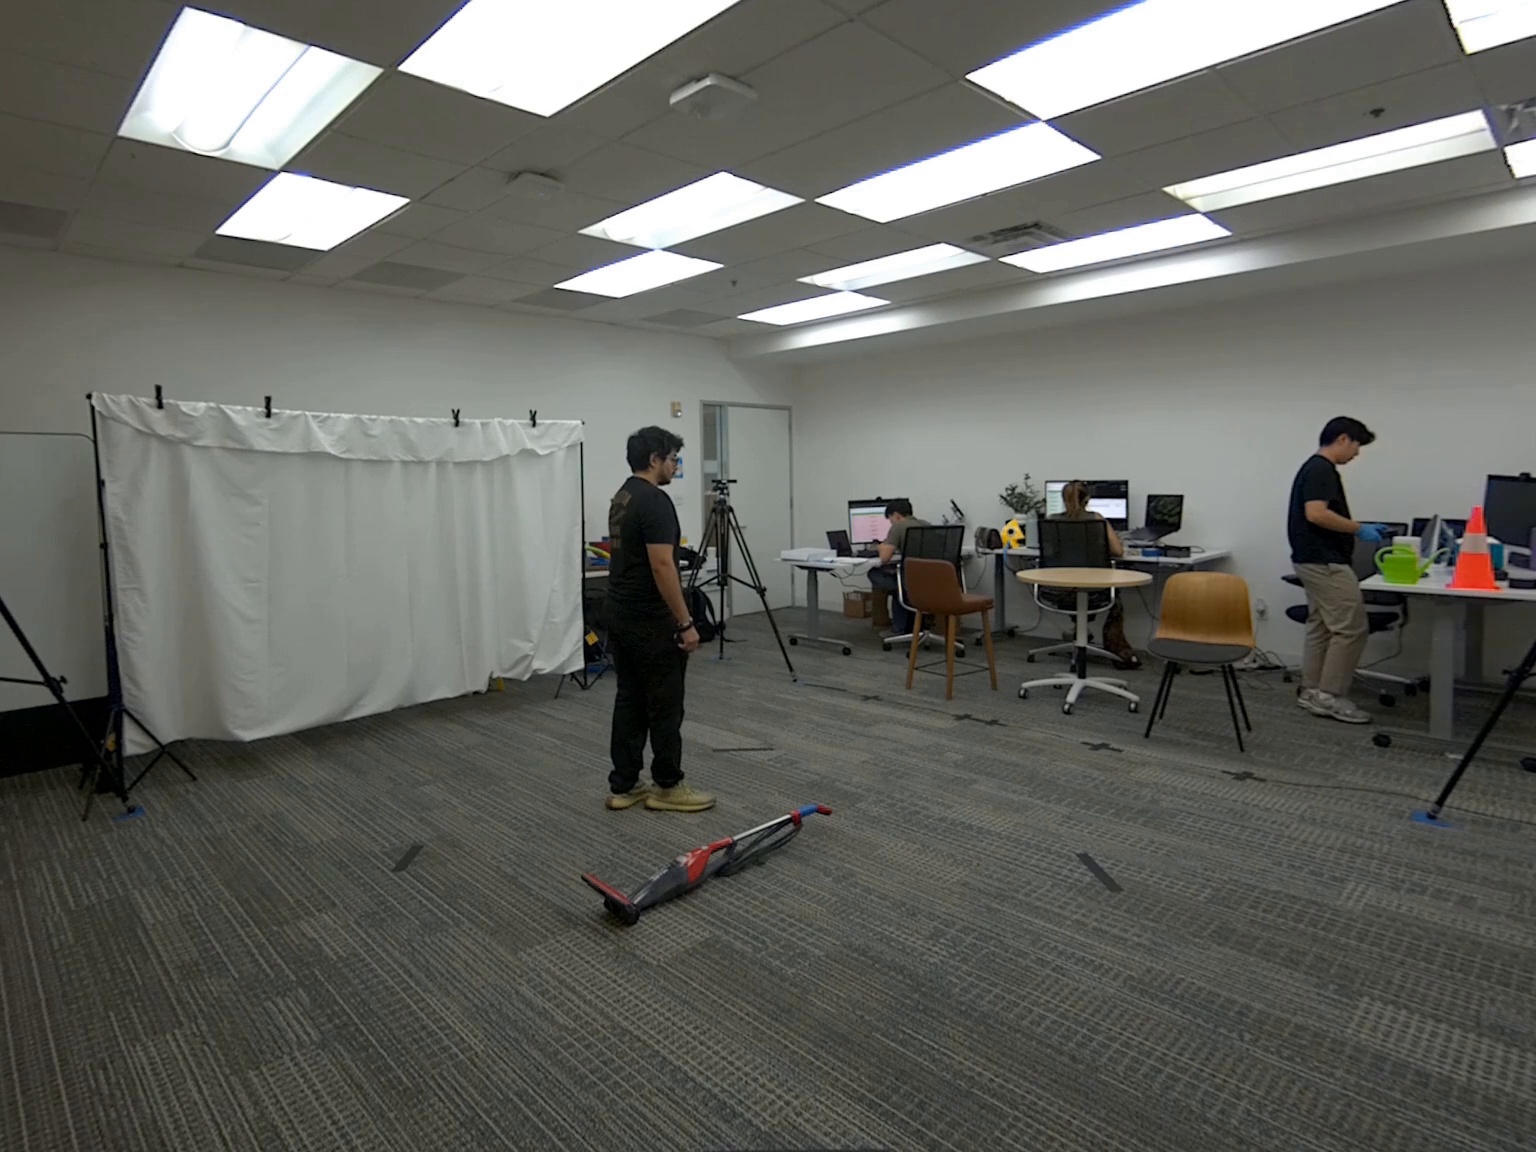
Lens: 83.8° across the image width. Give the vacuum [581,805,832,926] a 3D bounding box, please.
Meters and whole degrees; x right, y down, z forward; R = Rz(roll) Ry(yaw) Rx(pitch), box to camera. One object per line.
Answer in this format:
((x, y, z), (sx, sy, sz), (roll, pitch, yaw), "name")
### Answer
((-0.128, 0.995, 3.060), (1.021, 0.143, 0.260), (-6, 8, -43), "vacuum")
